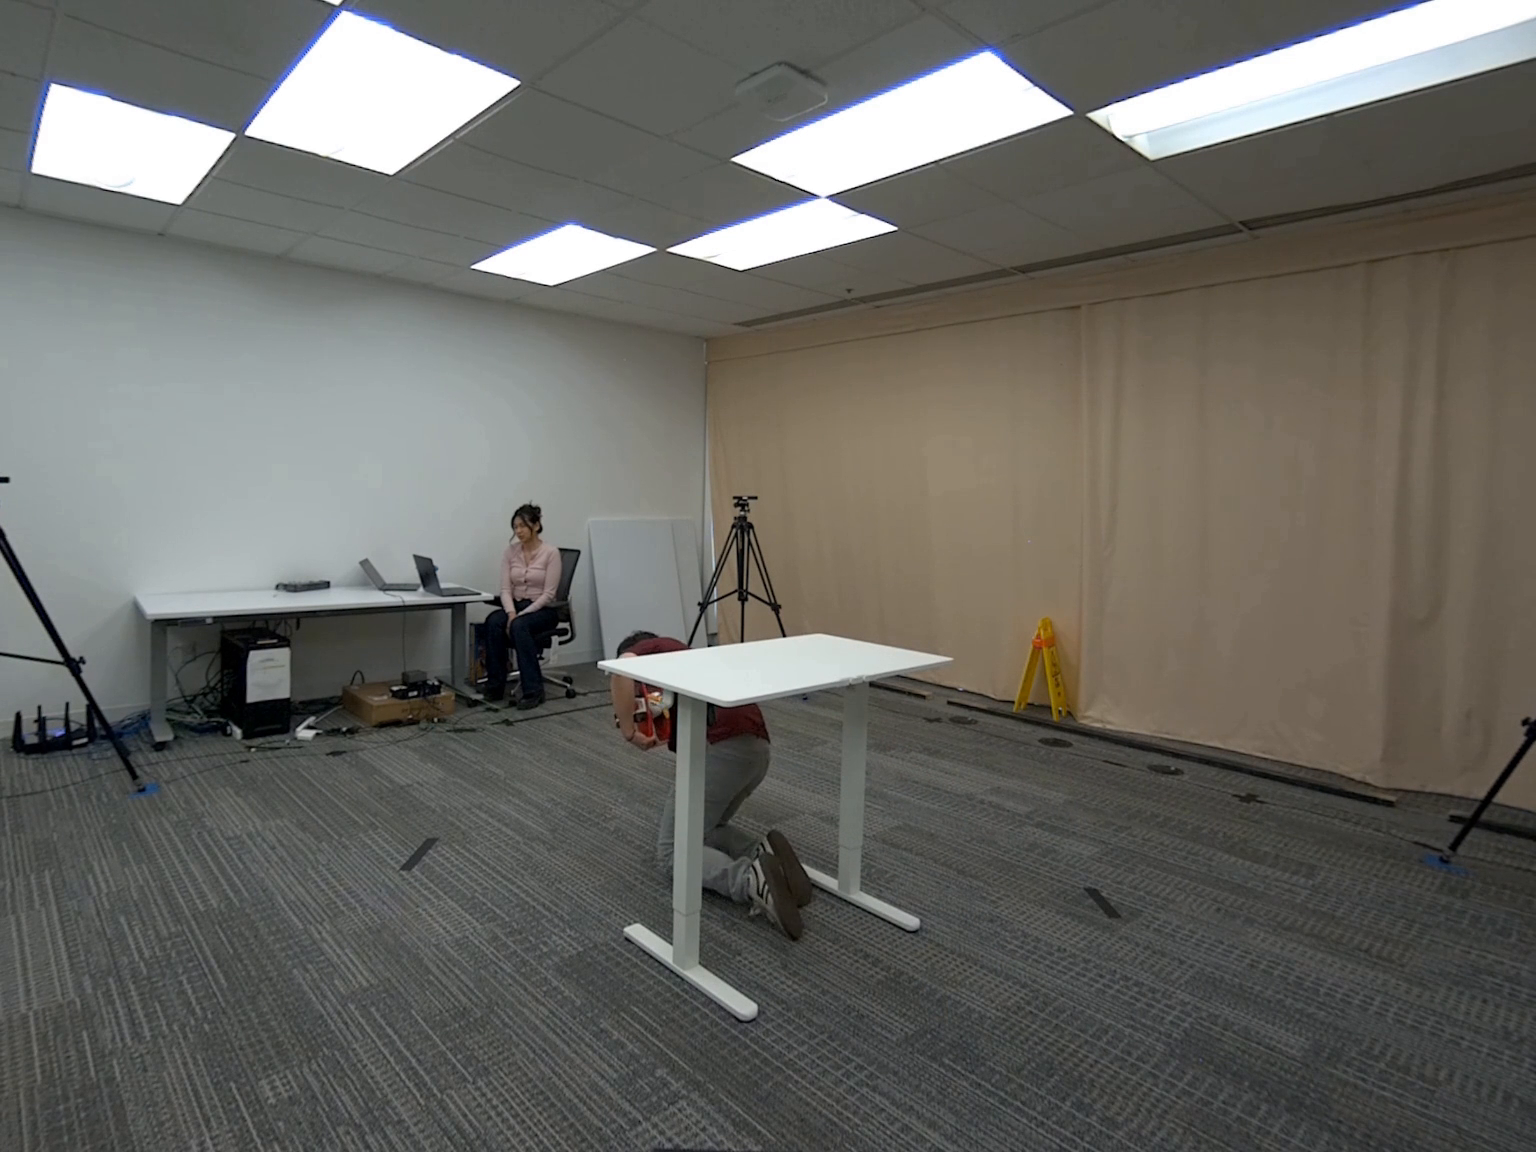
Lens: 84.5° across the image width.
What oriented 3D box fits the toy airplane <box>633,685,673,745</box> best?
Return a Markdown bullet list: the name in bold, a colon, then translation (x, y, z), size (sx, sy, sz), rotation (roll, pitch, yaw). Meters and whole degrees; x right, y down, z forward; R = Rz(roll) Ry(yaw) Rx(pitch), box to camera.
- **toy airplane**: translation (-0.486, 0.491, 3.176), size (0.153, 0.251, 0.265), rotation (2, 1, -30)
